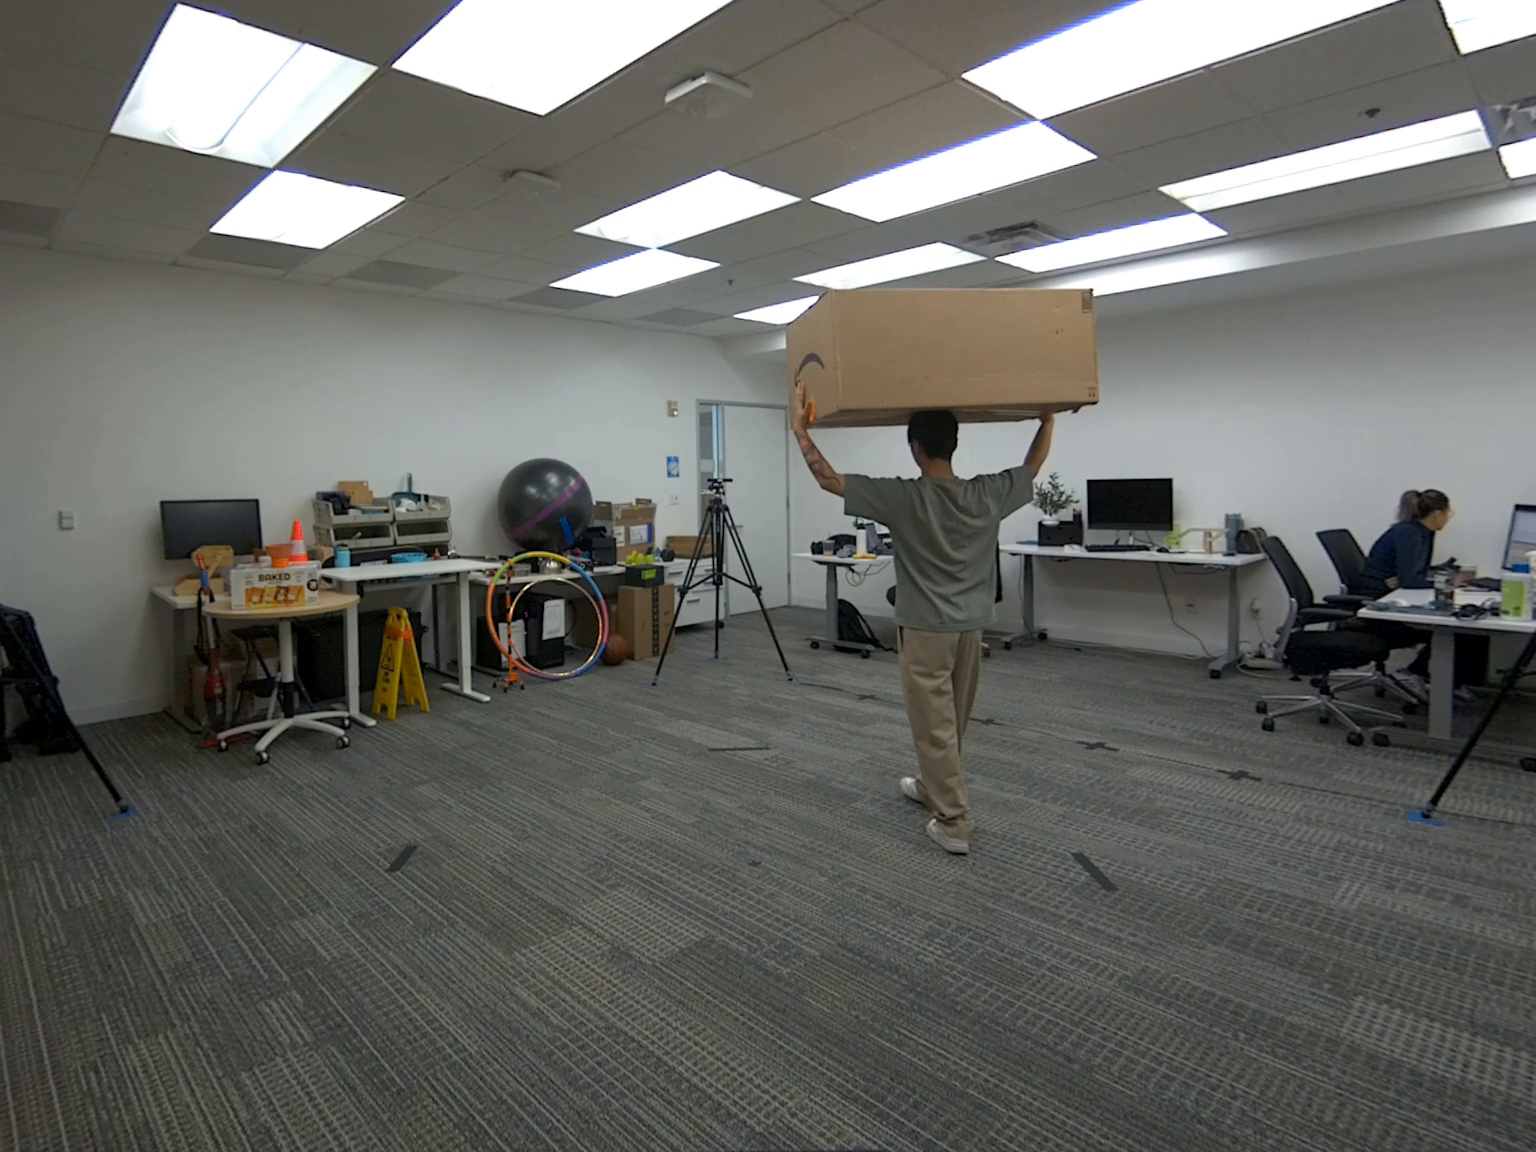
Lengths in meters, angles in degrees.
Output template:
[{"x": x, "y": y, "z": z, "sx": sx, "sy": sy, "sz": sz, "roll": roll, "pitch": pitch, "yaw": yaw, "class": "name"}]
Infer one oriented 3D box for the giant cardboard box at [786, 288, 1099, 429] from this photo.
[{"x": 0.644, "y": -0.827, "z": 3.309, "sx": 1.015, "sy": 0.425, "sz": 0.585, "roll": -4, "pitch": 3, "yaw": -12, "class": "giant cardboard box"}]
